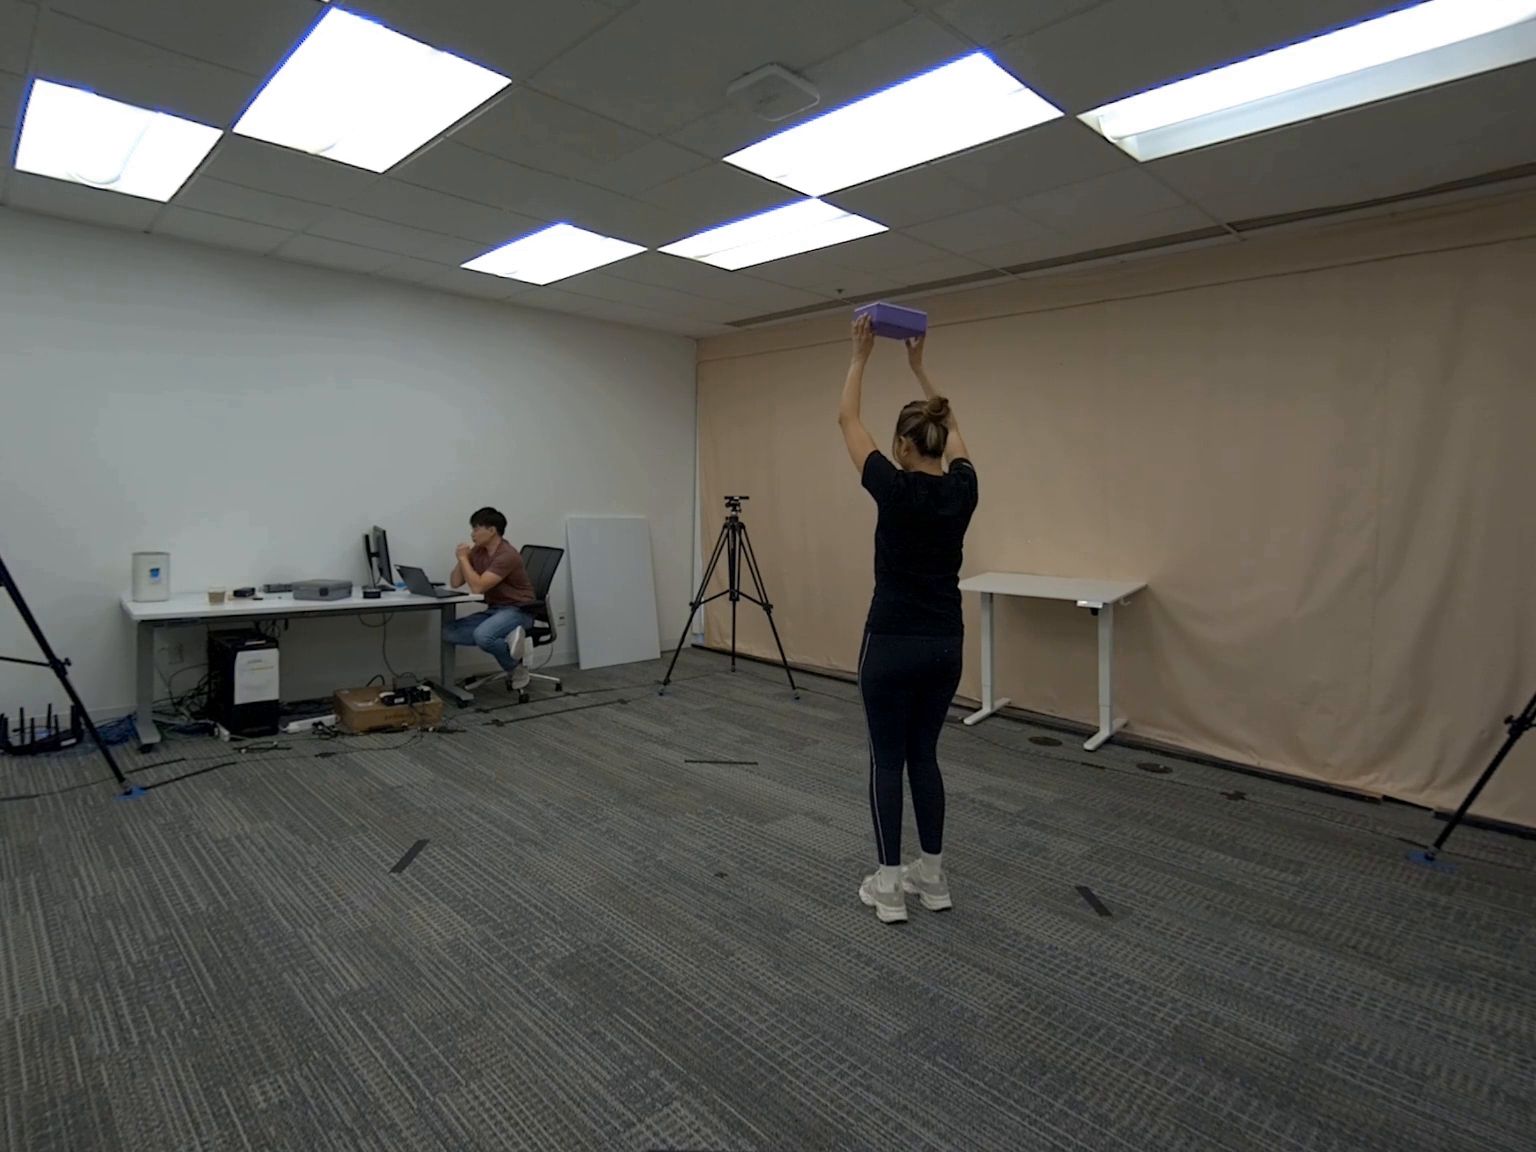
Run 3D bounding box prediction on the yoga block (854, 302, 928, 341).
[{"bbox_3d":[0.435,-0.917,3.022,0.225,0.076,0.151,3,0,-24],"label":"yoga block"}]
